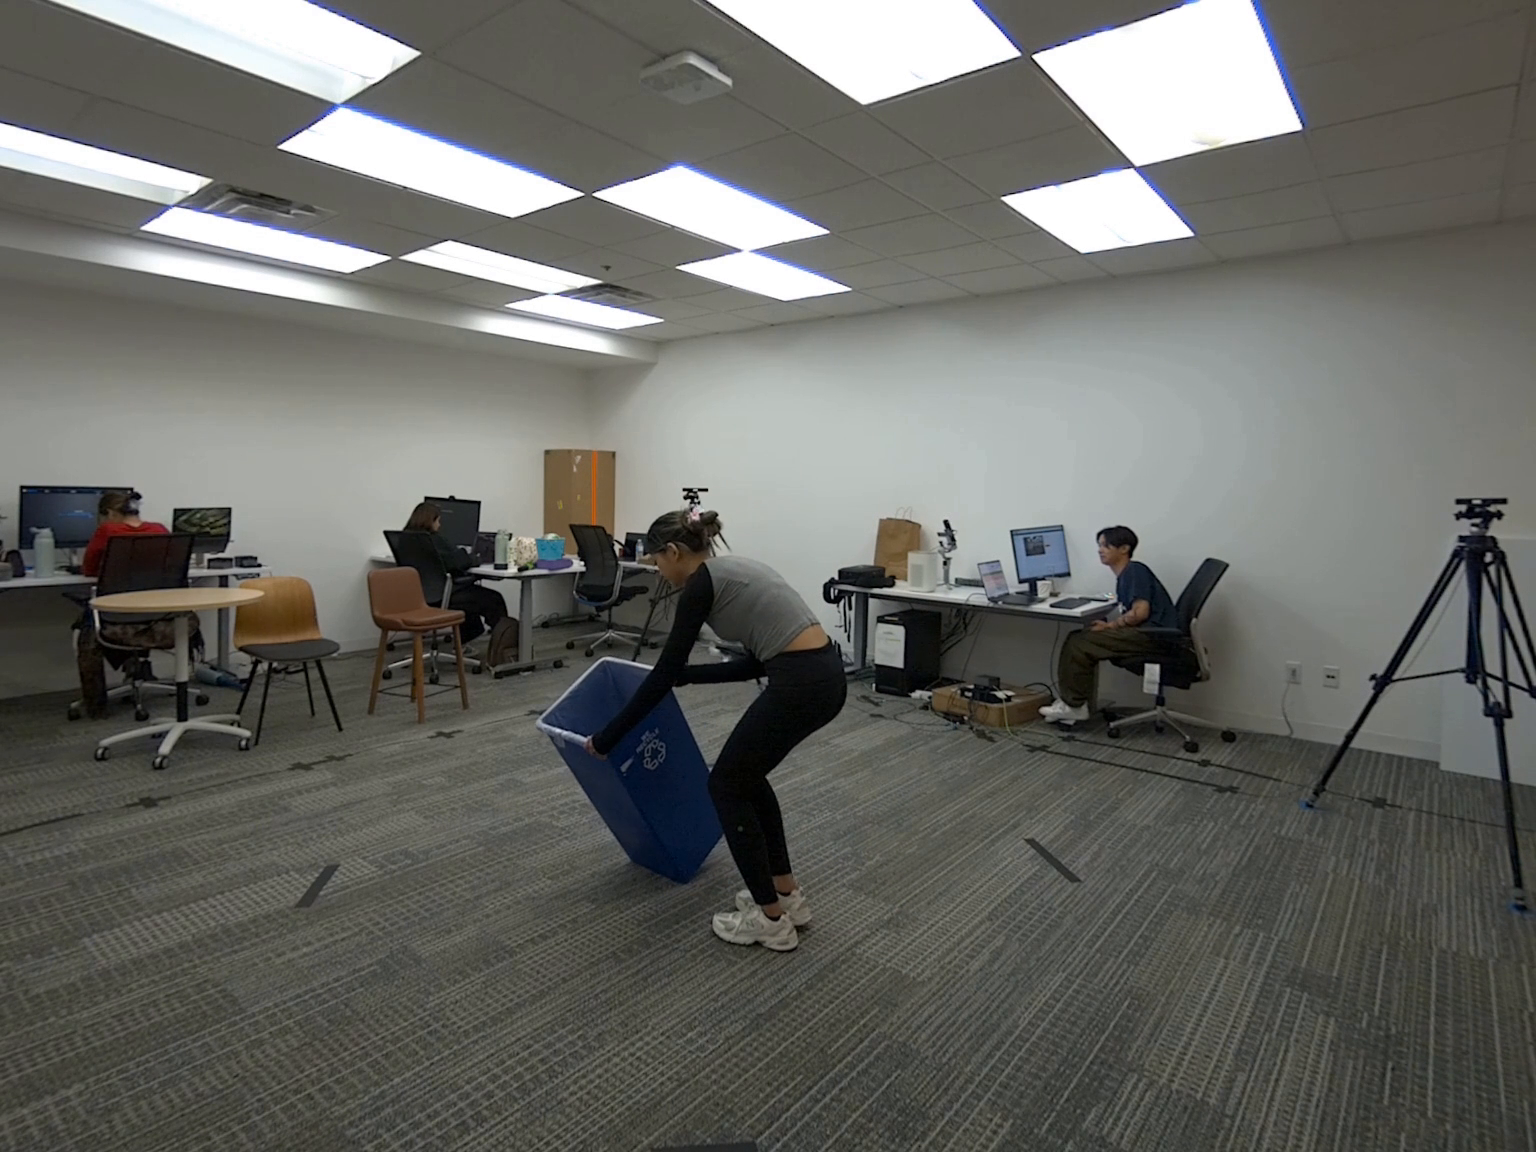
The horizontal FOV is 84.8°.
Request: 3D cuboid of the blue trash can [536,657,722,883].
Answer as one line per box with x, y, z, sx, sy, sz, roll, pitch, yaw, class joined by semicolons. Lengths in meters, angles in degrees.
-0.447;0.694;3.009;0.386;0.692;0.377;3;36;41;blue trash can
